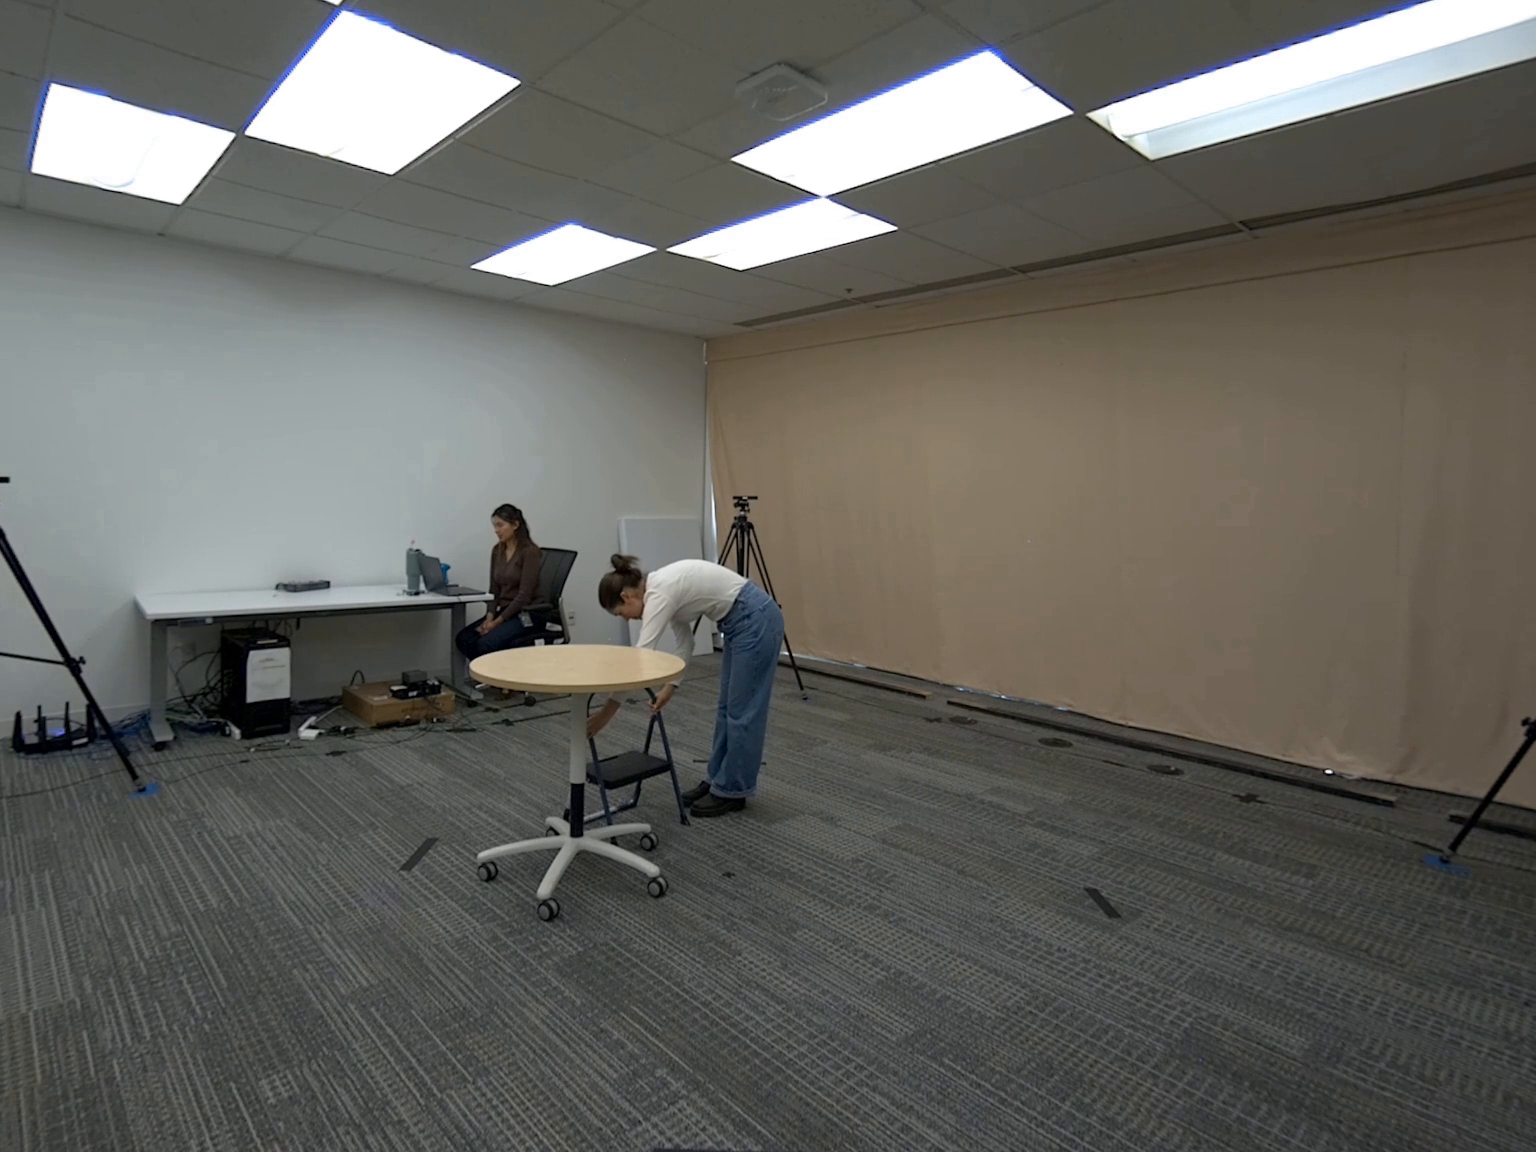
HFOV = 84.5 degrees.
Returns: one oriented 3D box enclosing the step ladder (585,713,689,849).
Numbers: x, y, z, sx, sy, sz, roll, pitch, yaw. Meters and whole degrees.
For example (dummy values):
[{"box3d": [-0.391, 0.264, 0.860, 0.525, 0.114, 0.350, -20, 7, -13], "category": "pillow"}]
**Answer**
[{"box3d": [-0.590, 0.749, 3.518, 0.358, 0.604, 0.421, 4, 5, 38], "category": "step ladder"}]
